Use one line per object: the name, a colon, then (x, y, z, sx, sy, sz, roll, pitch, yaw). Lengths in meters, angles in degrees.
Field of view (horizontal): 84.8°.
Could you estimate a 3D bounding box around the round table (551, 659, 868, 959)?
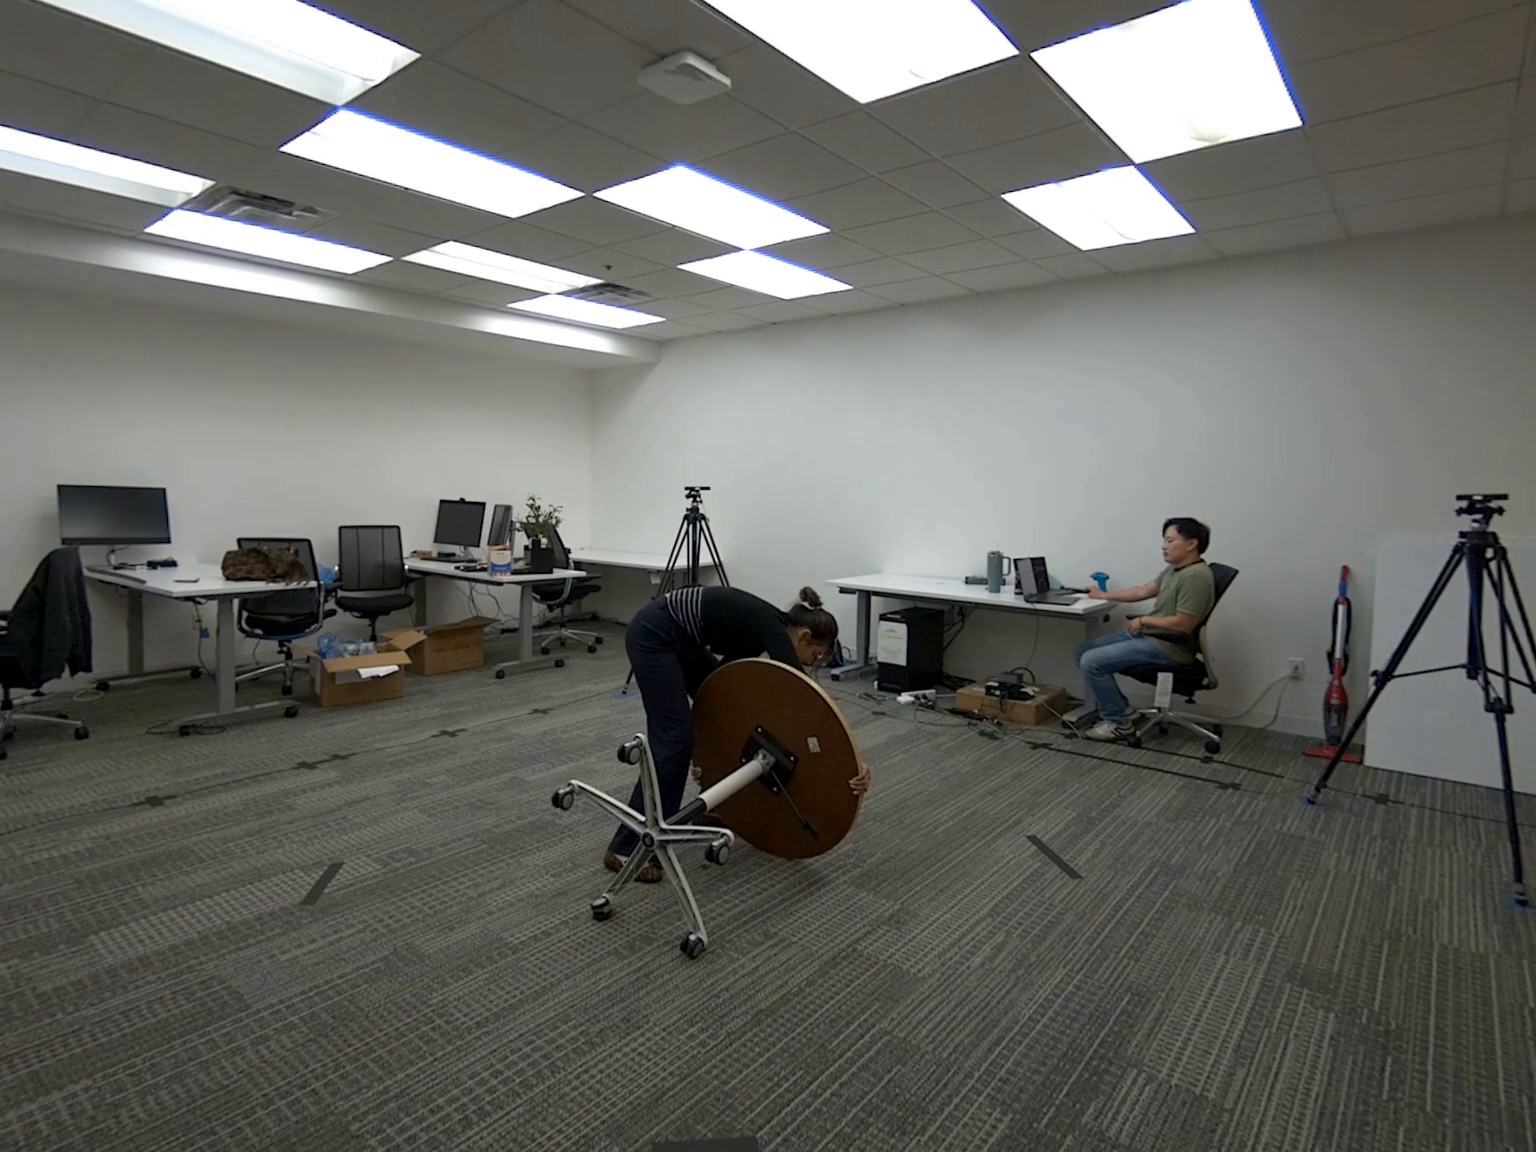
round table: (-0.213, 0.759, 2.884, 0.788, 0.757, 0.777, 4, 12, 35)
